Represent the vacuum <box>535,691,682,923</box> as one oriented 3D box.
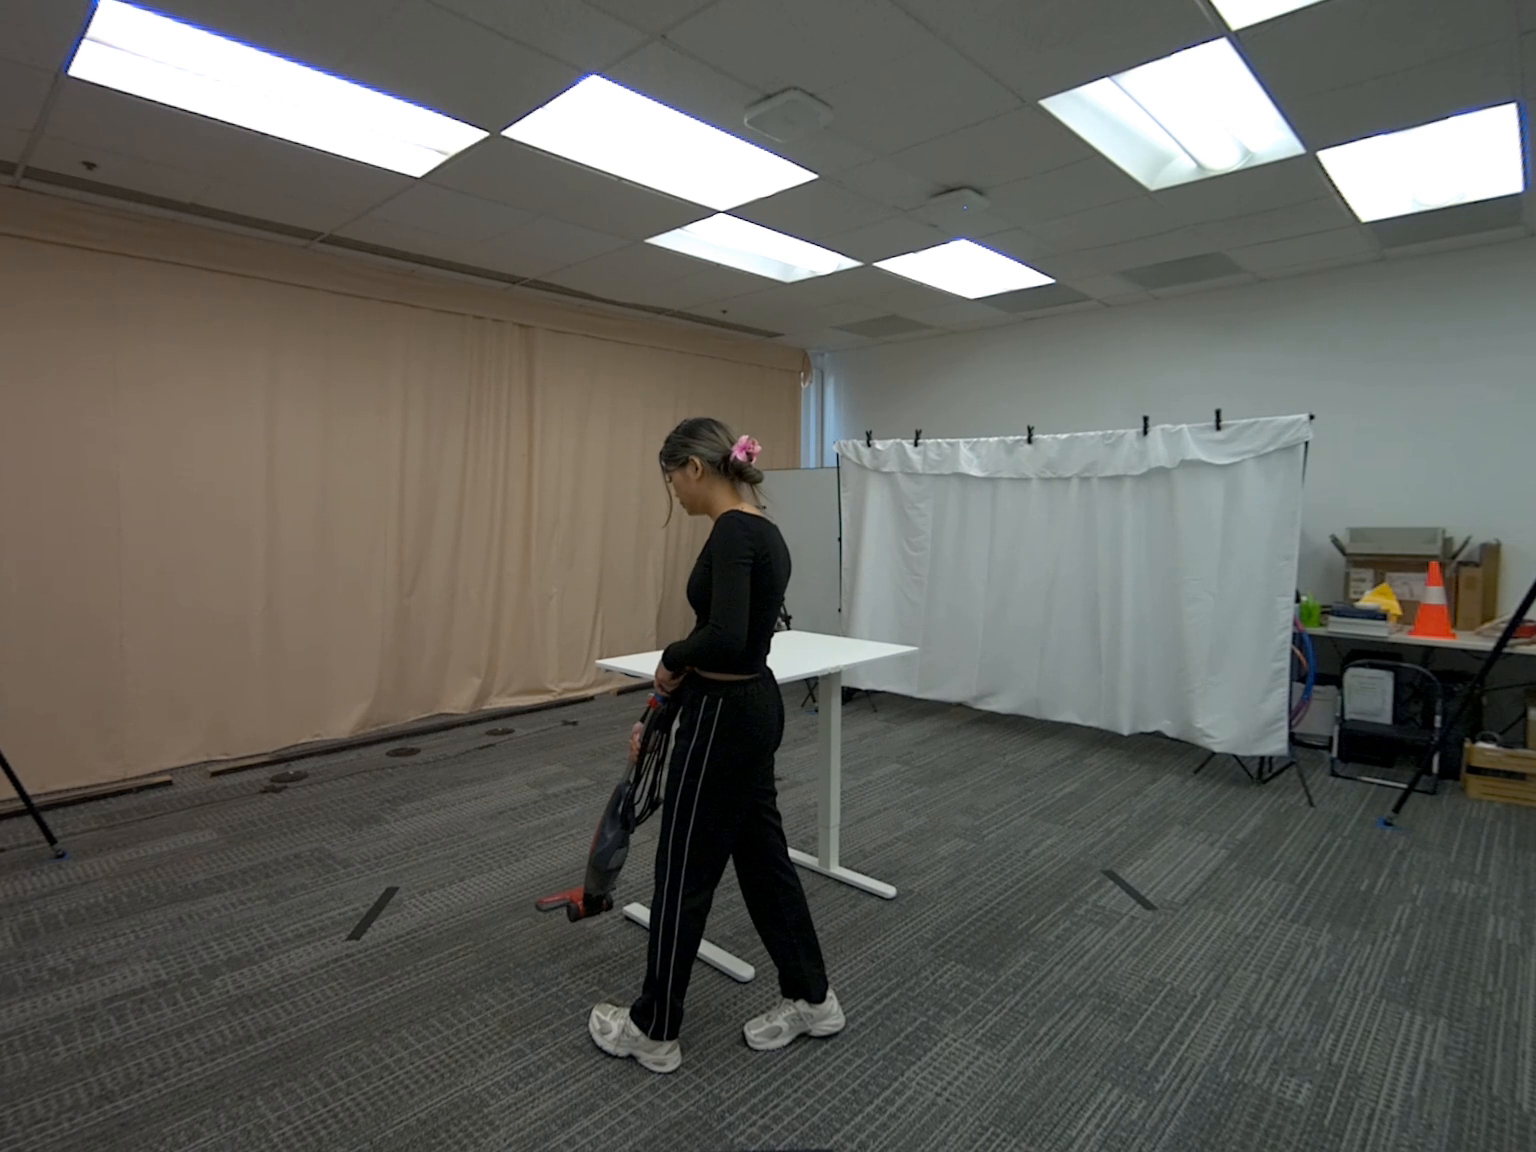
[{"bbox_3d":[-0.390,0.605,2.280,0.245,1.045,0.149,-11,45,-44],"label":"vacuum"}]
